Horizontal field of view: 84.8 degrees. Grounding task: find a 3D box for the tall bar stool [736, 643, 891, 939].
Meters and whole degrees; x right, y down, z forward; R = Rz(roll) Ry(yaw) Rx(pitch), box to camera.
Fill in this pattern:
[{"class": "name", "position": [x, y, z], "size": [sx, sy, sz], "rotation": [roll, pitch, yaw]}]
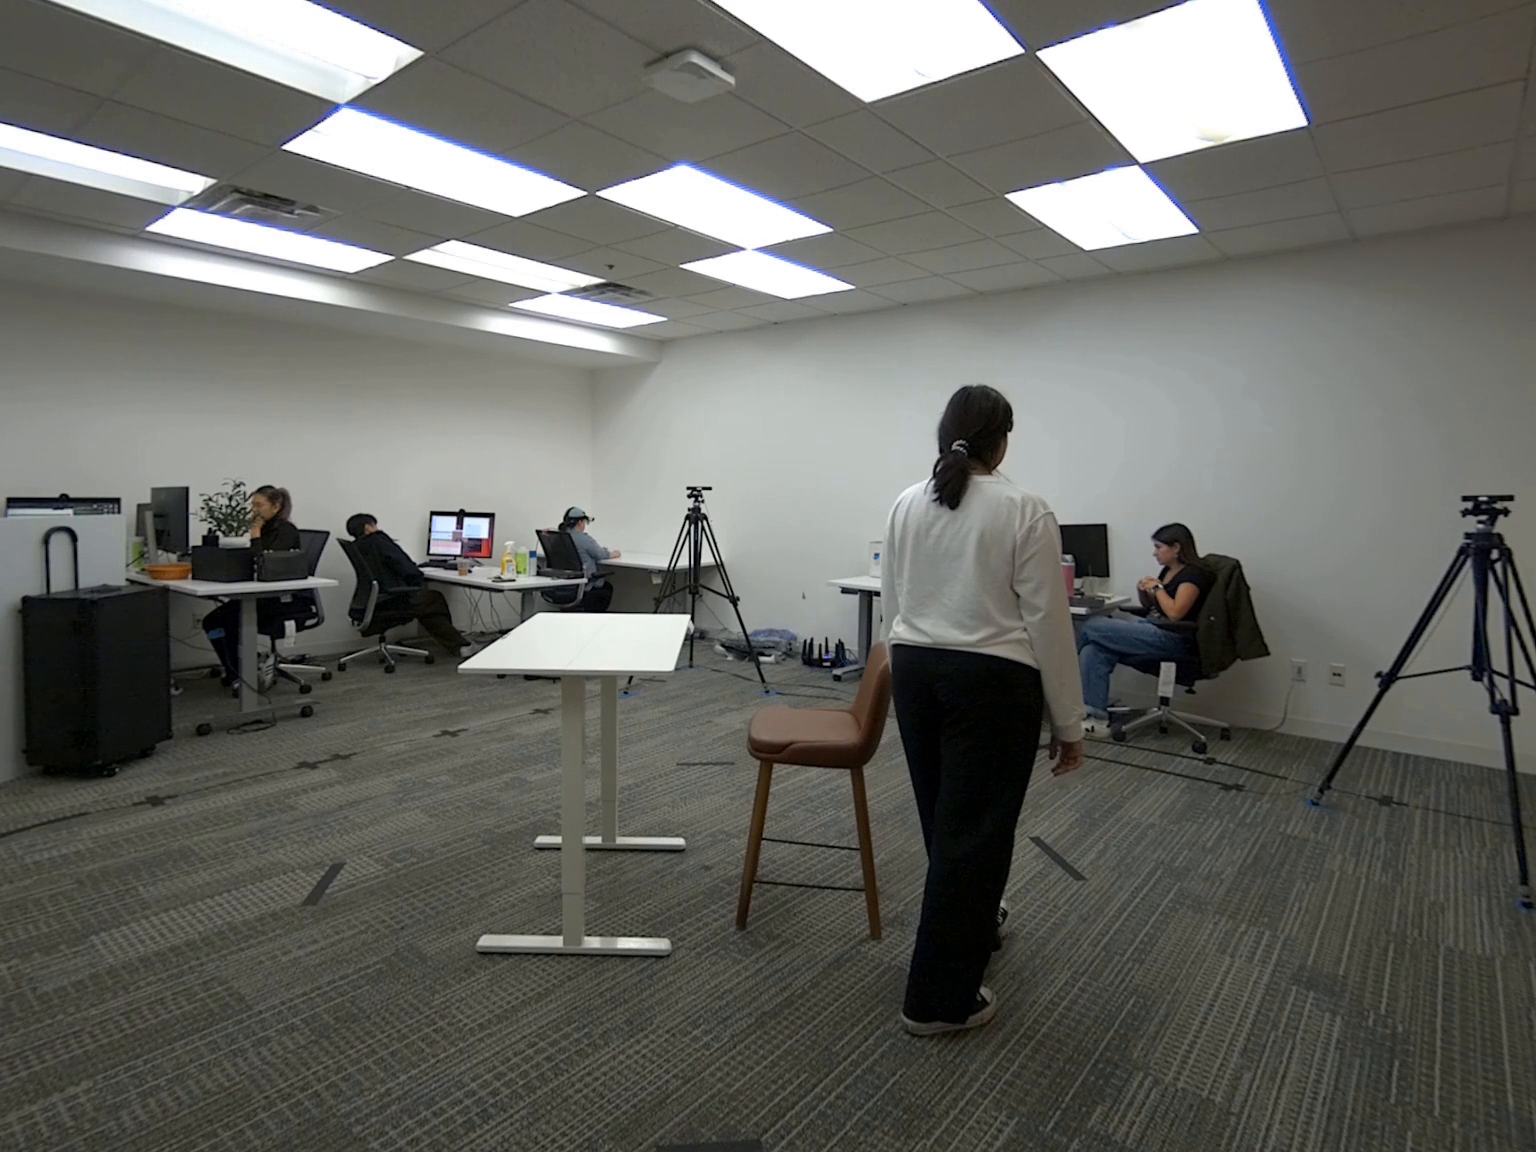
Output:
[{"class": "tall bar stool", "position": [0.156, 0.669, 2.822], "size": [0.472, 0.887, 0.454], "rotation": [4, 4, 7]}]
